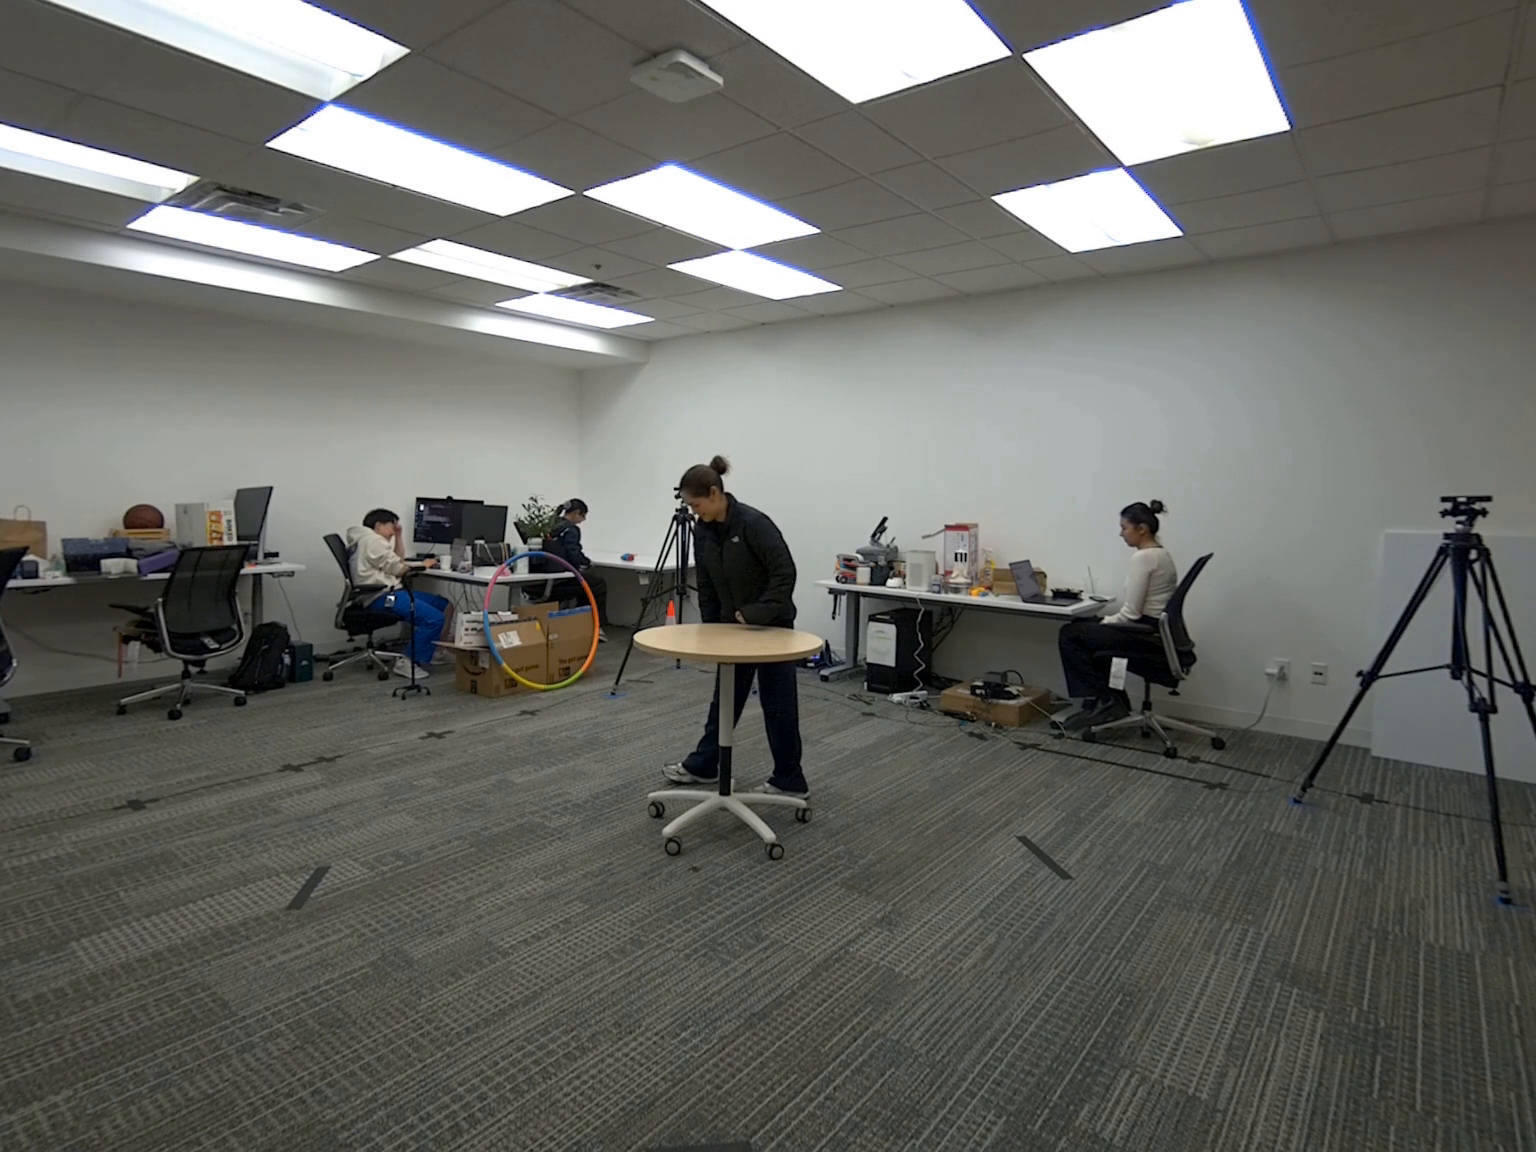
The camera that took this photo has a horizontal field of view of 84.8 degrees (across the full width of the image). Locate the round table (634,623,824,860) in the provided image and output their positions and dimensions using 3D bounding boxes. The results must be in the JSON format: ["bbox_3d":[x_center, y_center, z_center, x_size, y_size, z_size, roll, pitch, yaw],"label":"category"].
[{"bbox_3d":[-0.169,0.636,3.466,0.784,0.784,0.789,1,4,-2],"label":"round table"}]
